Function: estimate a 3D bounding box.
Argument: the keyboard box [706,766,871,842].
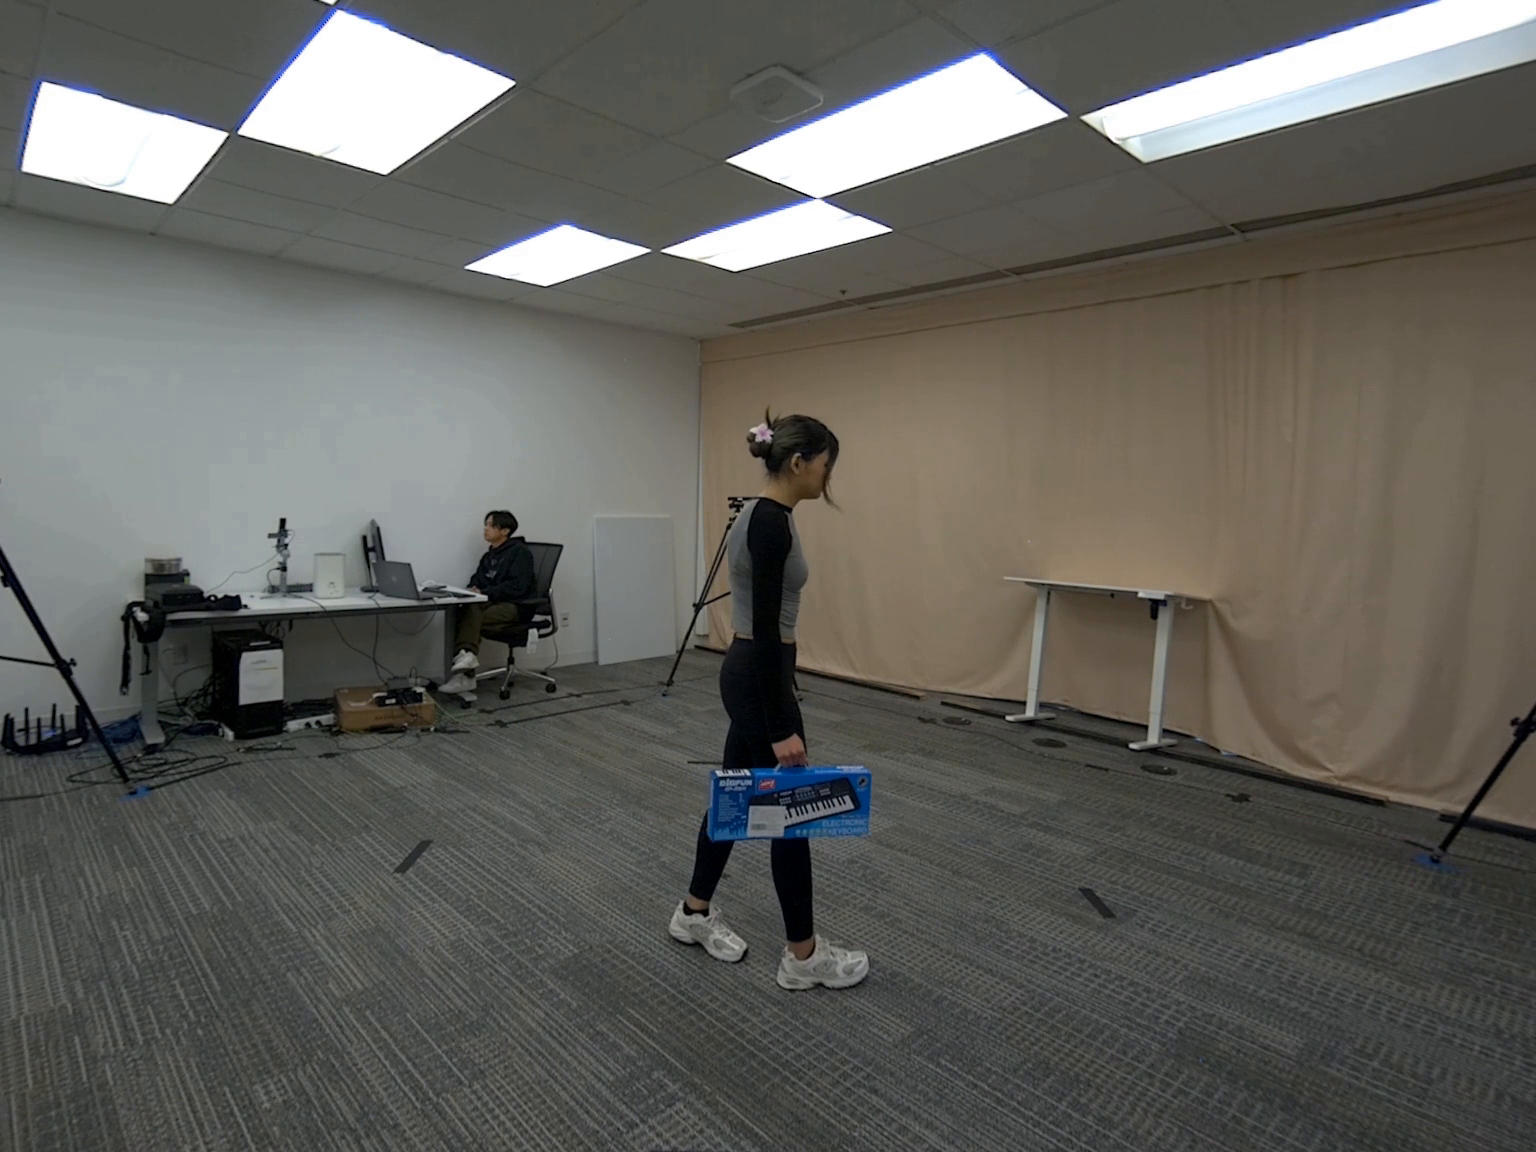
[{"bbox_3d":[0.052,0.606,2.251,0.432,0.175,0.060,3,3,-14],"label":"keyboard box"}]
